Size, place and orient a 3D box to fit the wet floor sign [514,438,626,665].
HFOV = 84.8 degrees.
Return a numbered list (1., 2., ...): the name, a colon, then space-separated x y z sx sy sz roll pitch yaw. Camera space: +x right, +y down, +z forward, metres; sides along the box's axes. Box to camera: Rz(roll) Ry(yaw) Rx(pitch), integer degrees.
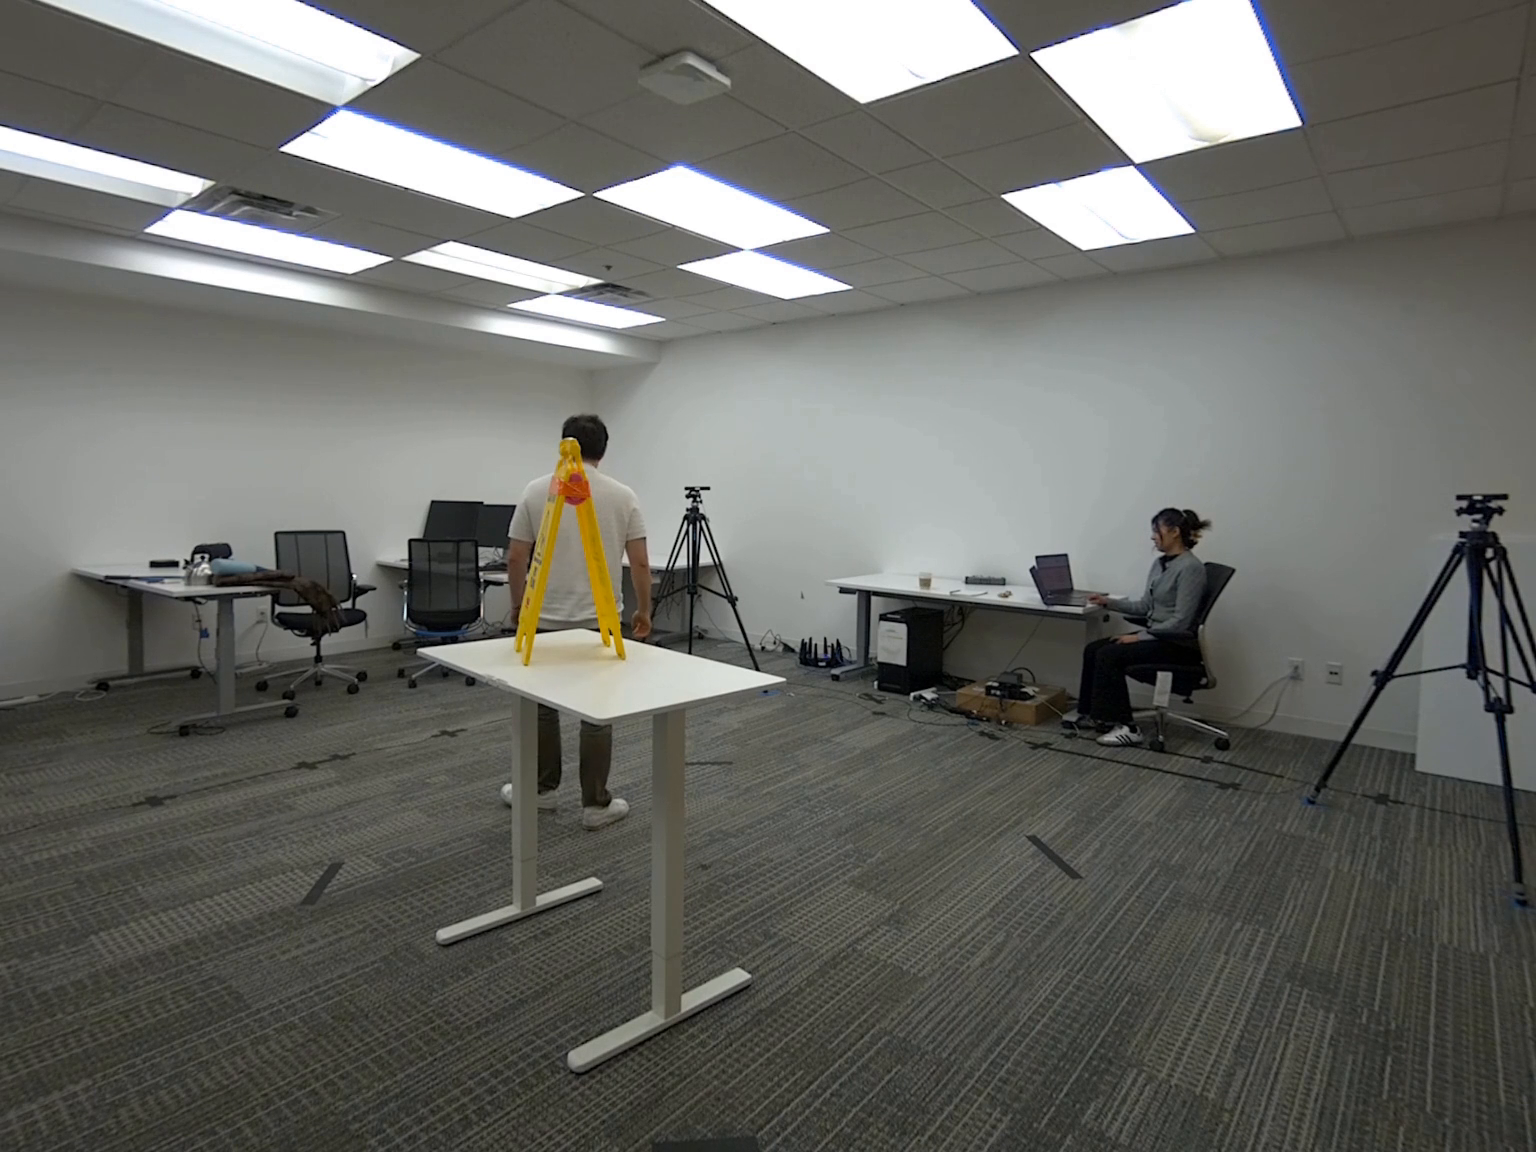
1. wet floor sign: -0.605 -0.086 2.546 0.284 0.643 0.289 0 5 -21
